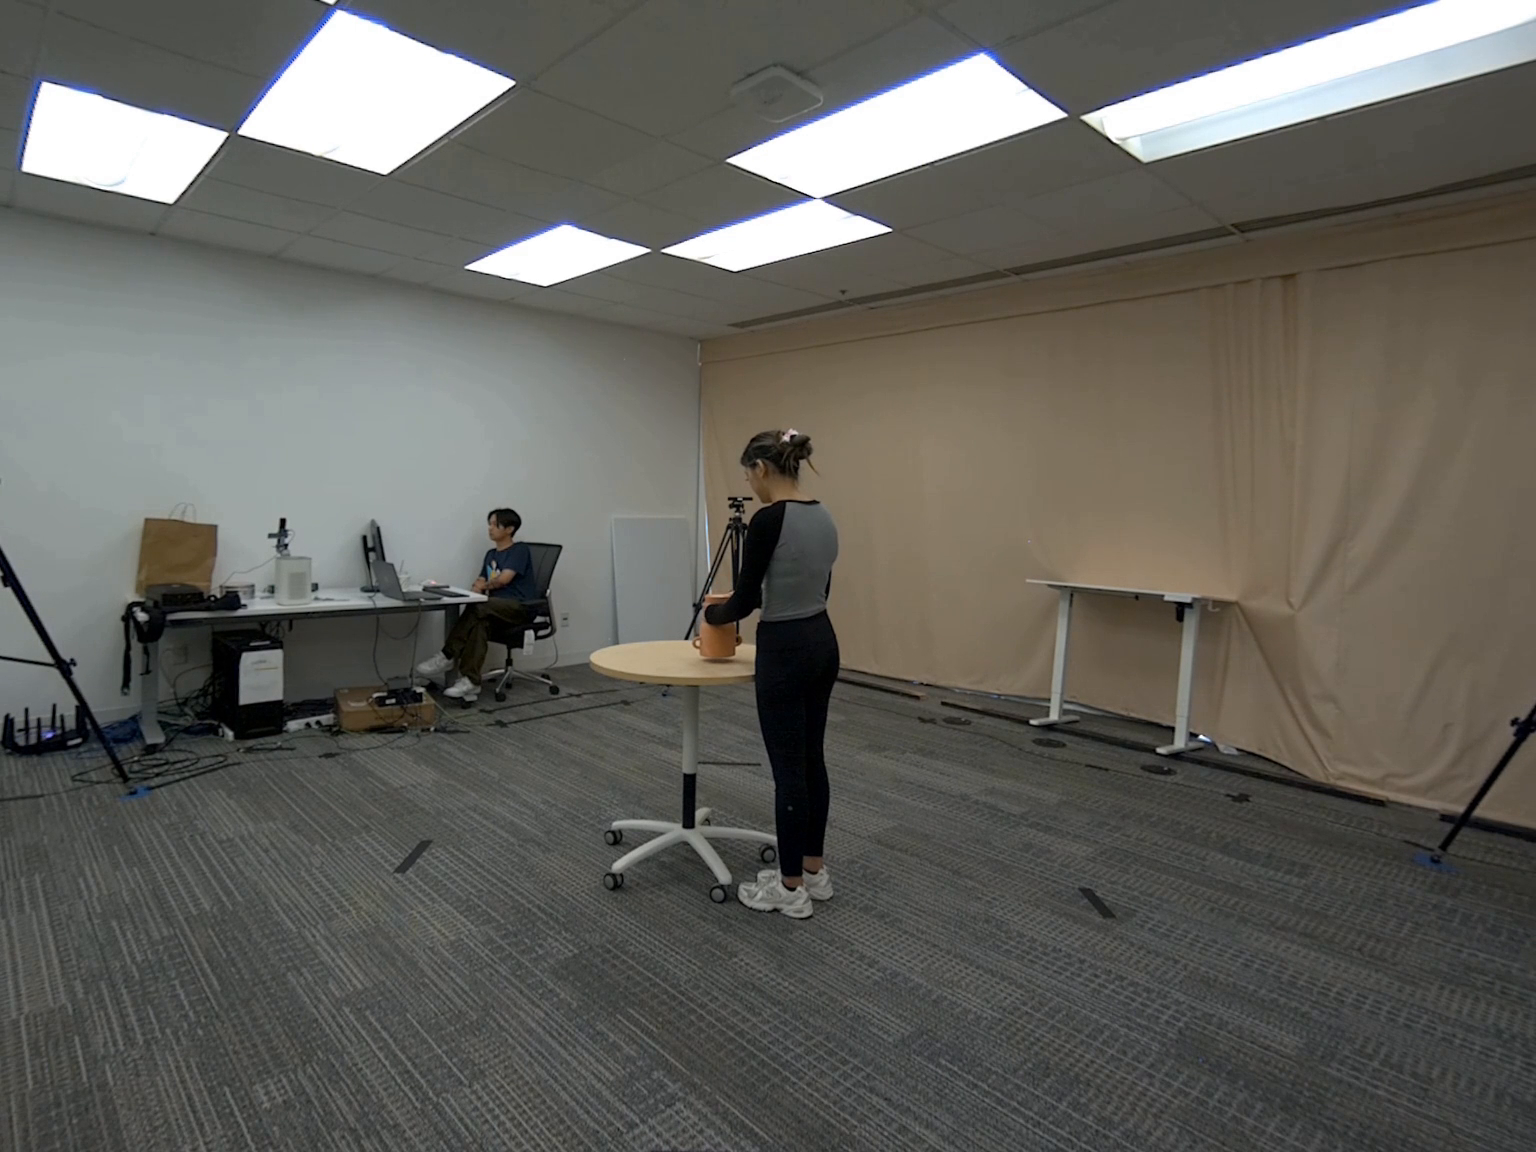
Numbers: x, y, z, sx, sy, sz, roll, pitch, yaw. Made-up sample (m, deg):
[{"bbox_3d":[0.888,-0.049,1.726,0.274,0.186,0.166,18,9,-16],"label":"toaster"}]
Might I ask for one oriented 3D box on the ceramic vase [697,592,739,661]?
[{"bbox_3d":[-0.188,0.180,3.094,0.137,0.218,0.156,5,9,27],"label":"ceramic vase"}]
